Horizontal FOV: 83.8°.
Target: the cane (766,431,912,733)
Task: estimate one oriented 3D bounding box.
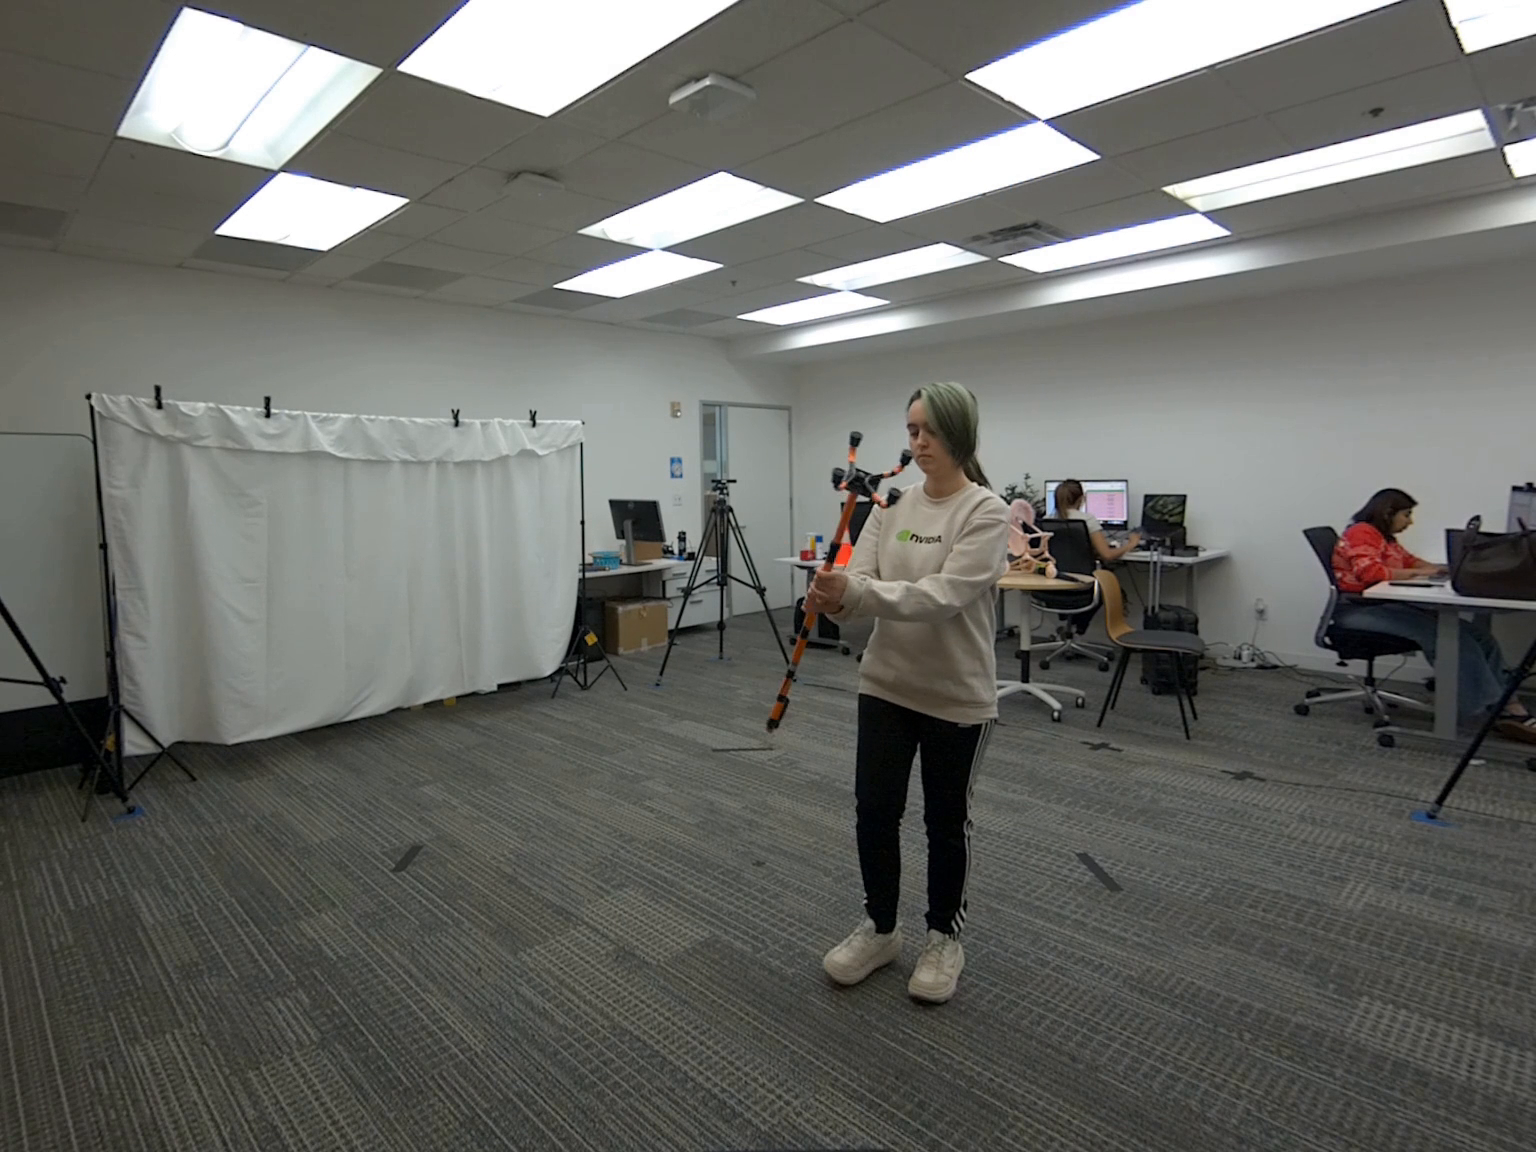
[{"bbox_3d":[0.140,0.088,2.113,0.152,0.892,0.209,20,38,3],"label":"cane"}]
